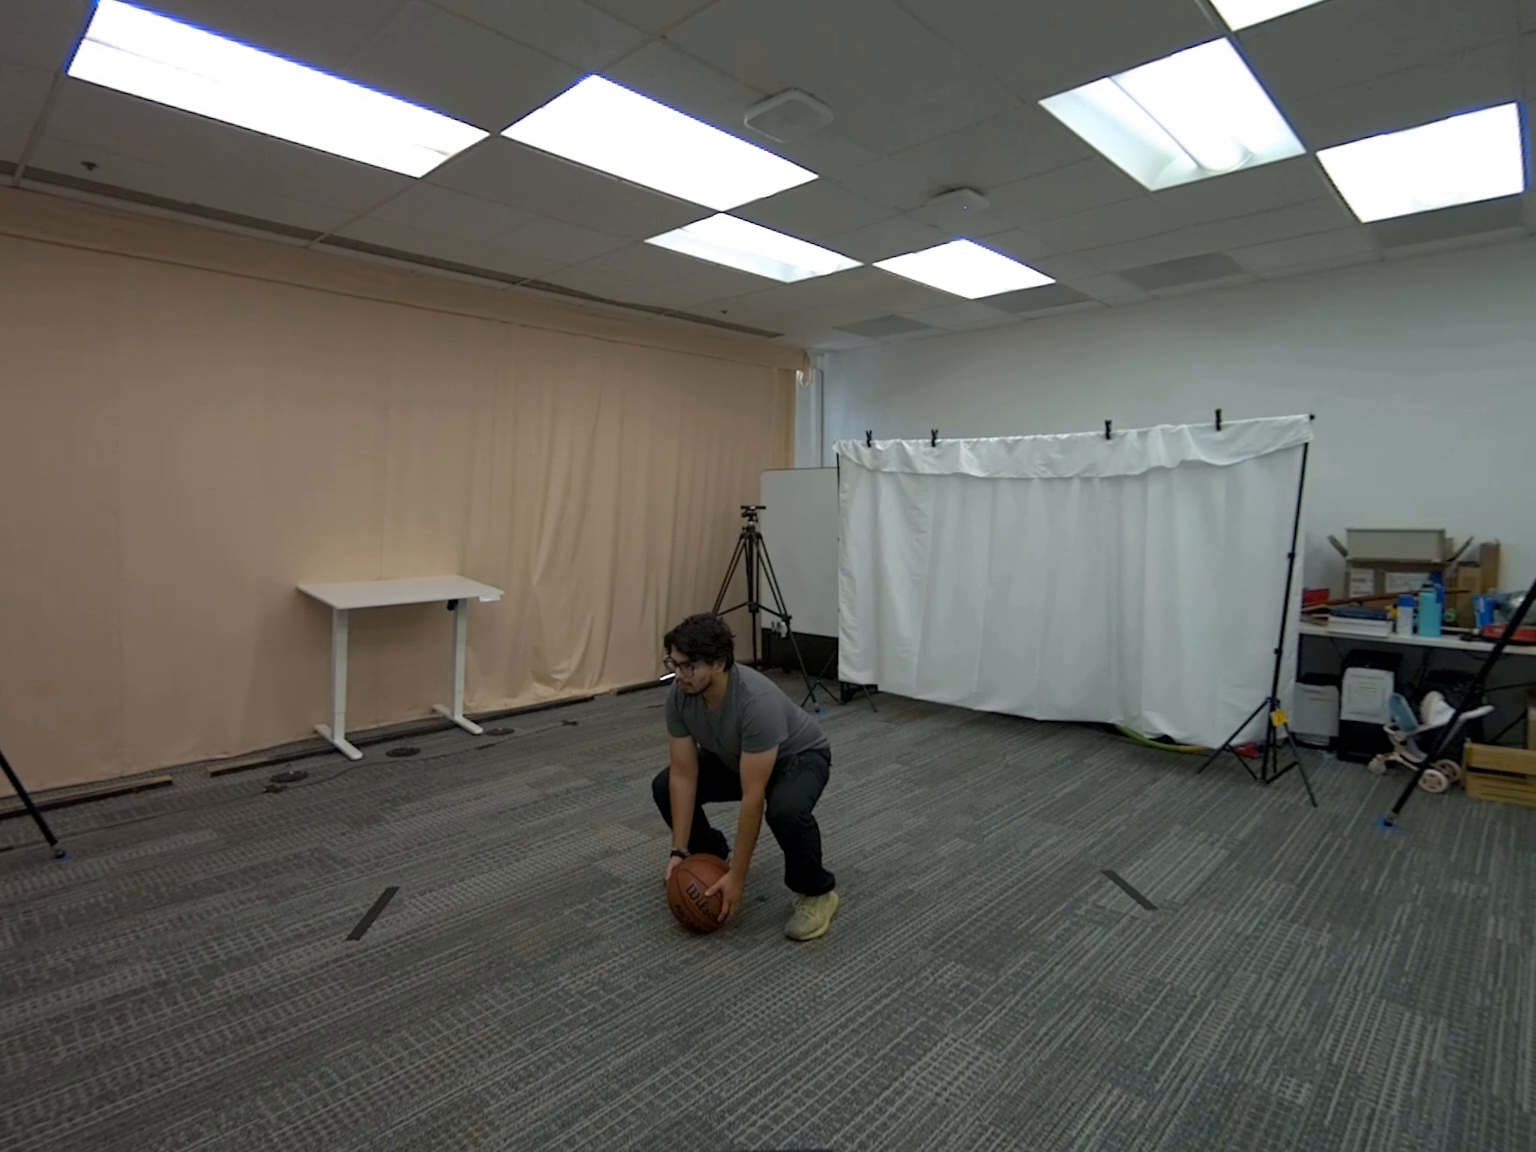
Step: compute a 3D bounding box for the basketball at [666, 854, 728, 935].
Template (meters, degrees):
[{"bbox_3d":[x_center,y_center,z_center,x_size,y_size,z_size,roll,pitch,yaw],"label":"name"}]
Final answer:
[{"bbox_3d":[-0.216,1.043,2.778,0.236,0.235,0.237,0,4,-2],"label":"basketball"}]
